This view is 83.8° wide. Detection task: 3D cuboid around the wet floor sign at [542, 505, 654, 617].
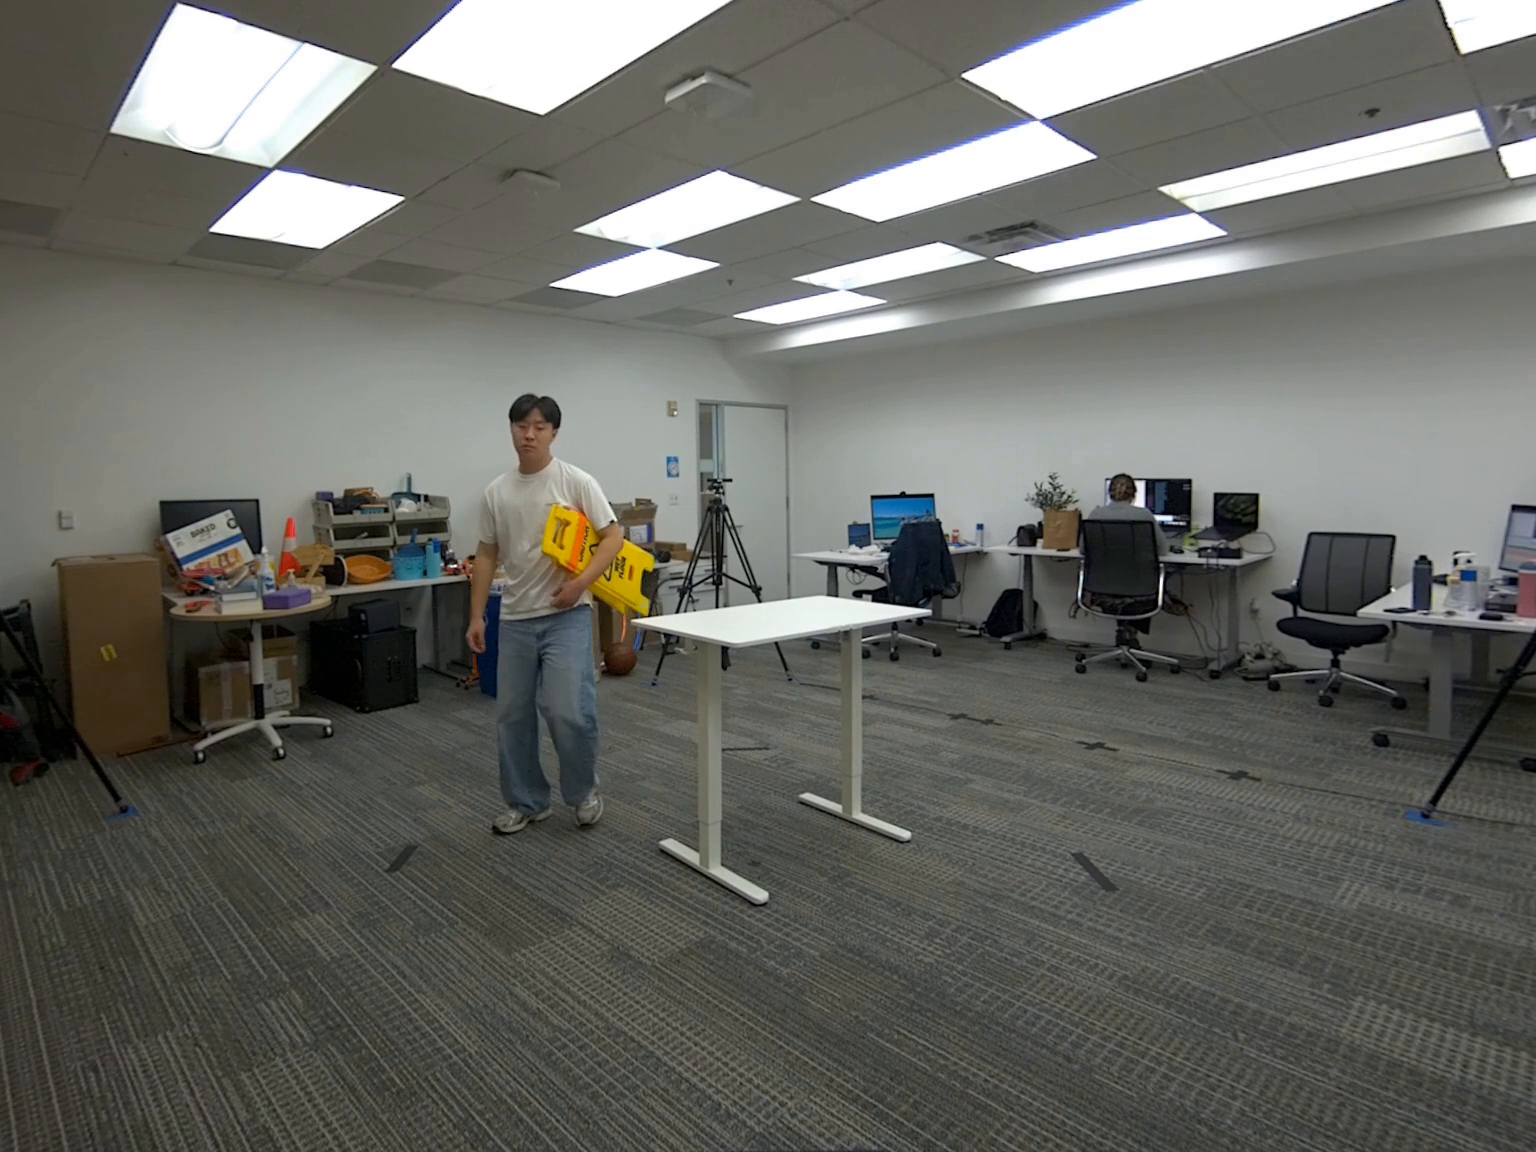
[{"bbox_3d":[-0.711,-0.066,3.456,0.295,0.286,0.624,-1,-21,20],"label":"wet floor sign"}]
